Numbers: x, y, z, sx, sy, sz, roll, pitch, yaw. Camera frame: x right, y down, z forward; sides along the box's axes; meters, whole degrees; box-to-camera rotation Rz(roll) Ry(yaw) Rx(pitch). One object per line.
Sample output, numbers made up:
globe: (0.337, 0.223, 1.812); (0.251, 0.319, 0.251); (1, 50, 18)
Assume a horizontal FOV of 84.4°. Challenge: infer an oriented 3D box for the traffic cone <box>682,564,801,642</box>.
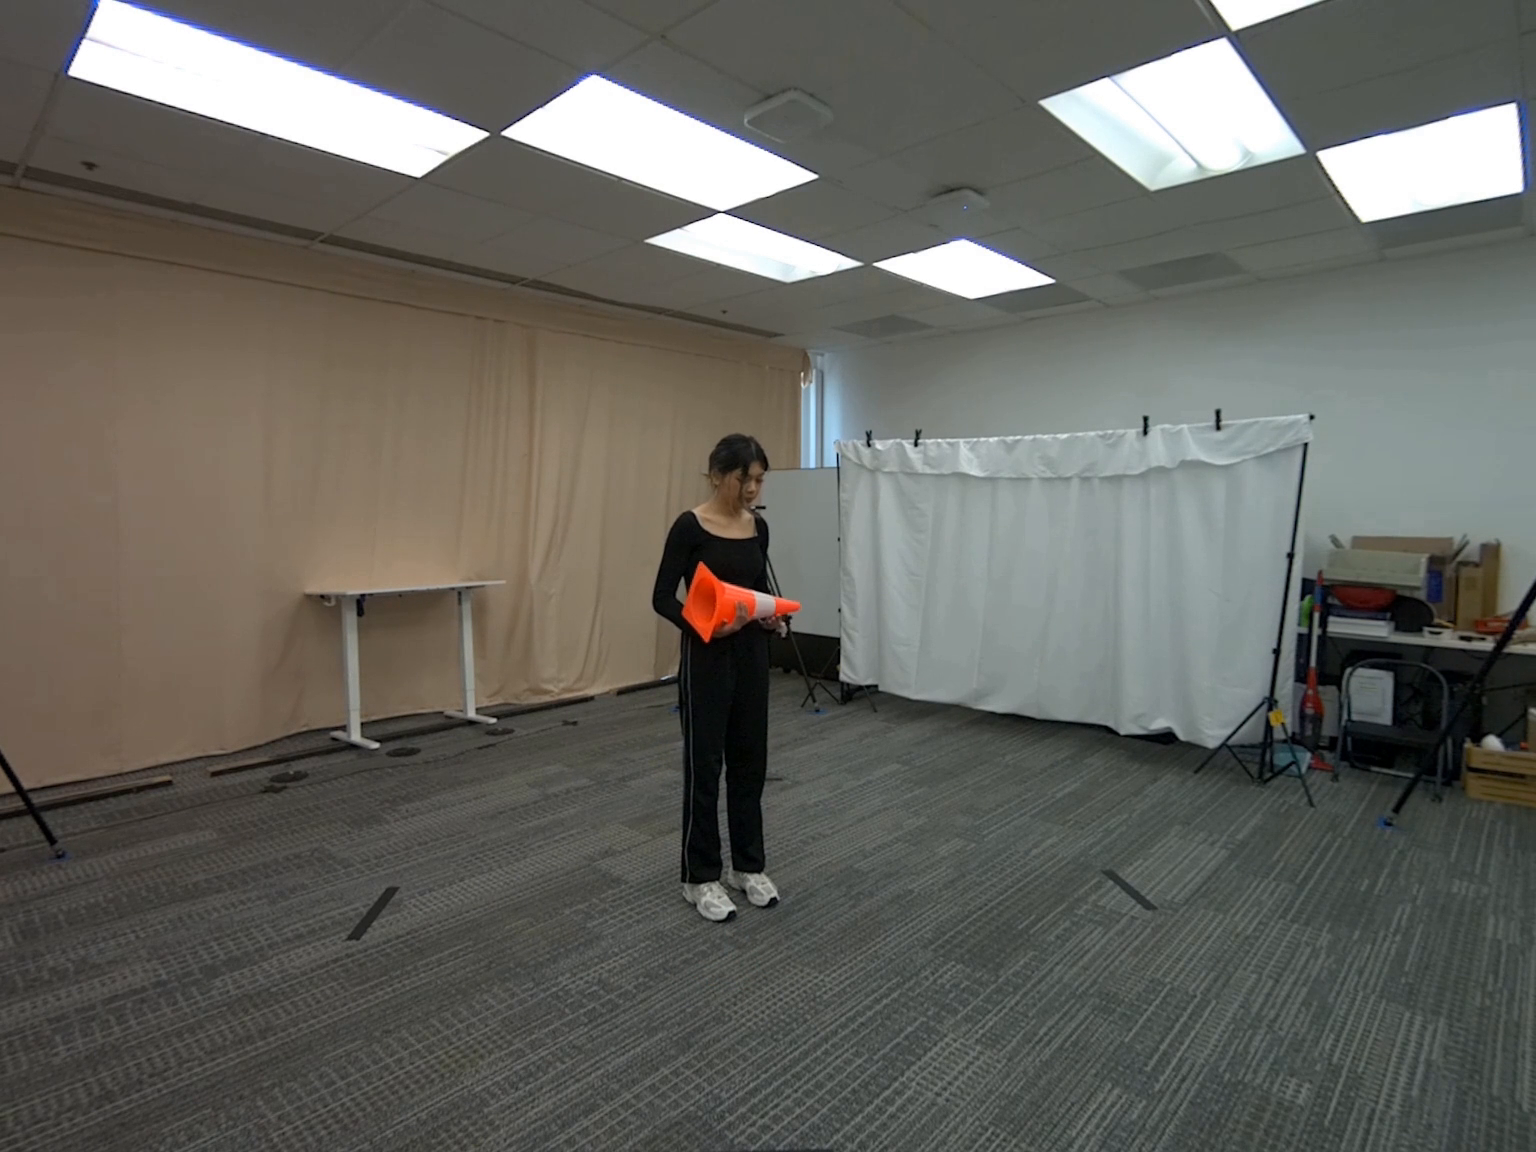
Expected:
traffic cone: (-0.039, 0.098, 2.786); (0.372, 0.202, 0.212); (6, 22, -32)
